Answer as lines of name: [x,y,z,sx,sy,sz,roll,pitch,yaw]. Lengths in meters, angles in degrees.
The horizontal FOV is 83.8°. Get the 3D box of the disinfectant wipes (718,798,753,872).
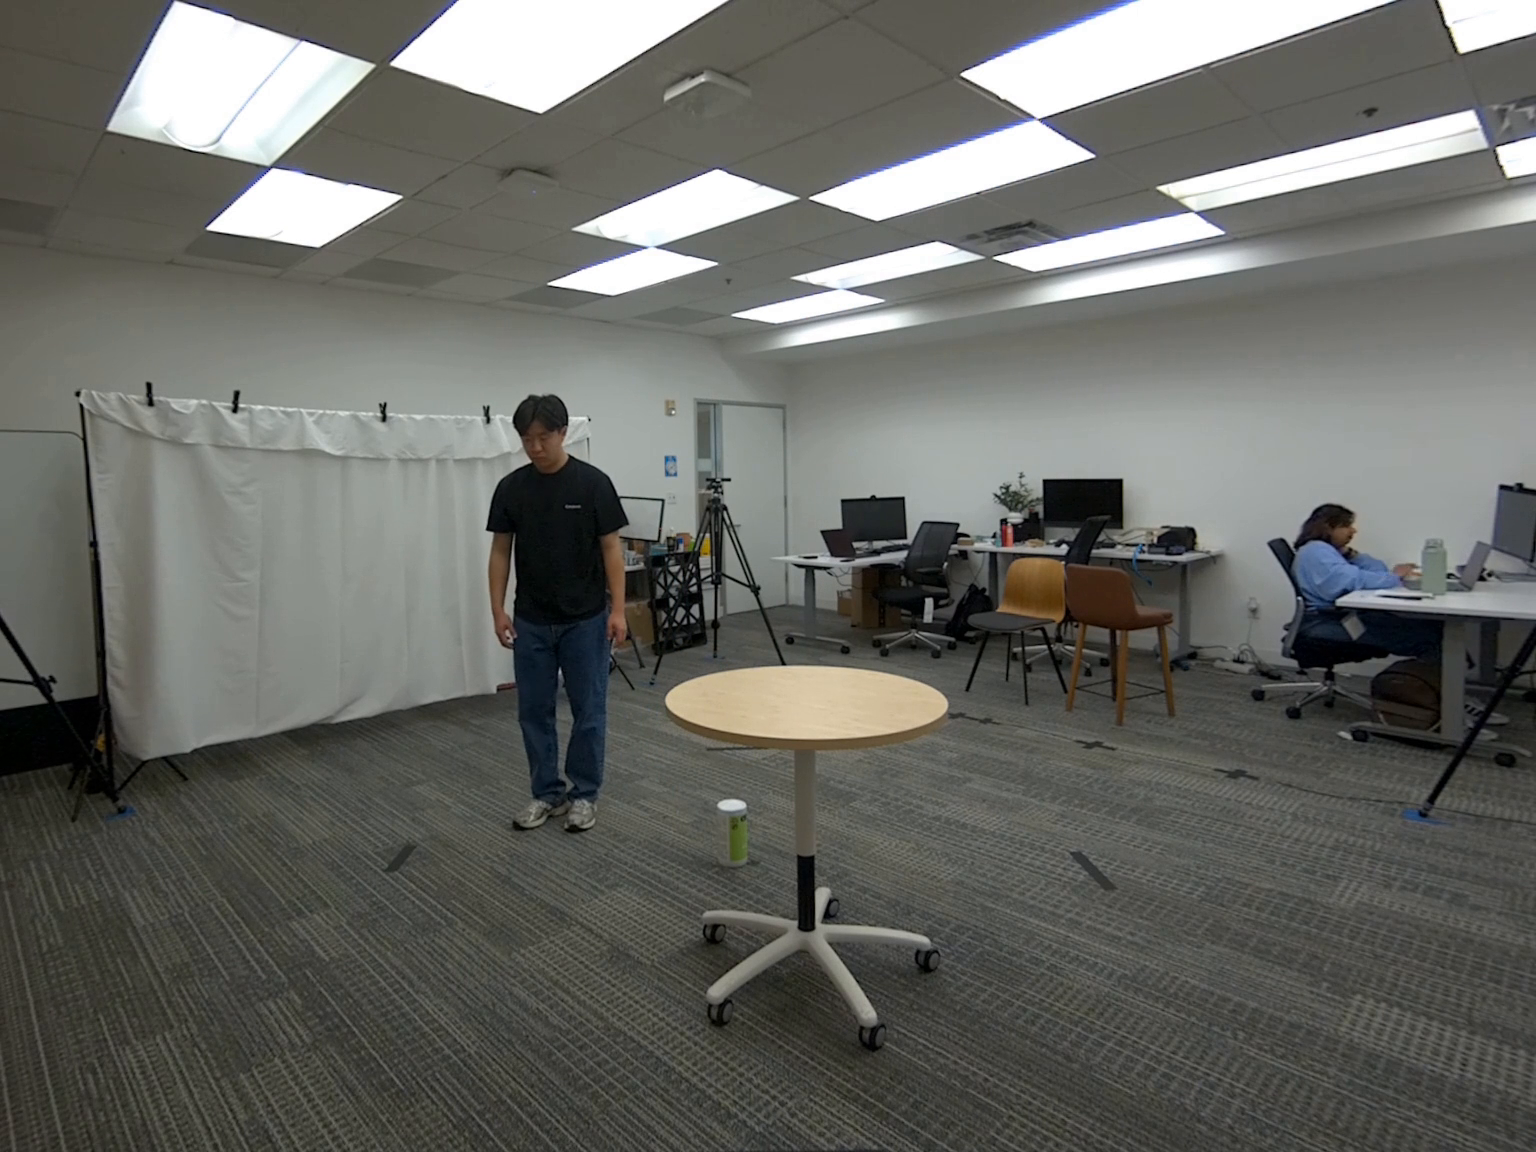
disinfectant wipes: [-0.120,0.936,3.108,0.118,0.217,0.118,-1,3,-2]
